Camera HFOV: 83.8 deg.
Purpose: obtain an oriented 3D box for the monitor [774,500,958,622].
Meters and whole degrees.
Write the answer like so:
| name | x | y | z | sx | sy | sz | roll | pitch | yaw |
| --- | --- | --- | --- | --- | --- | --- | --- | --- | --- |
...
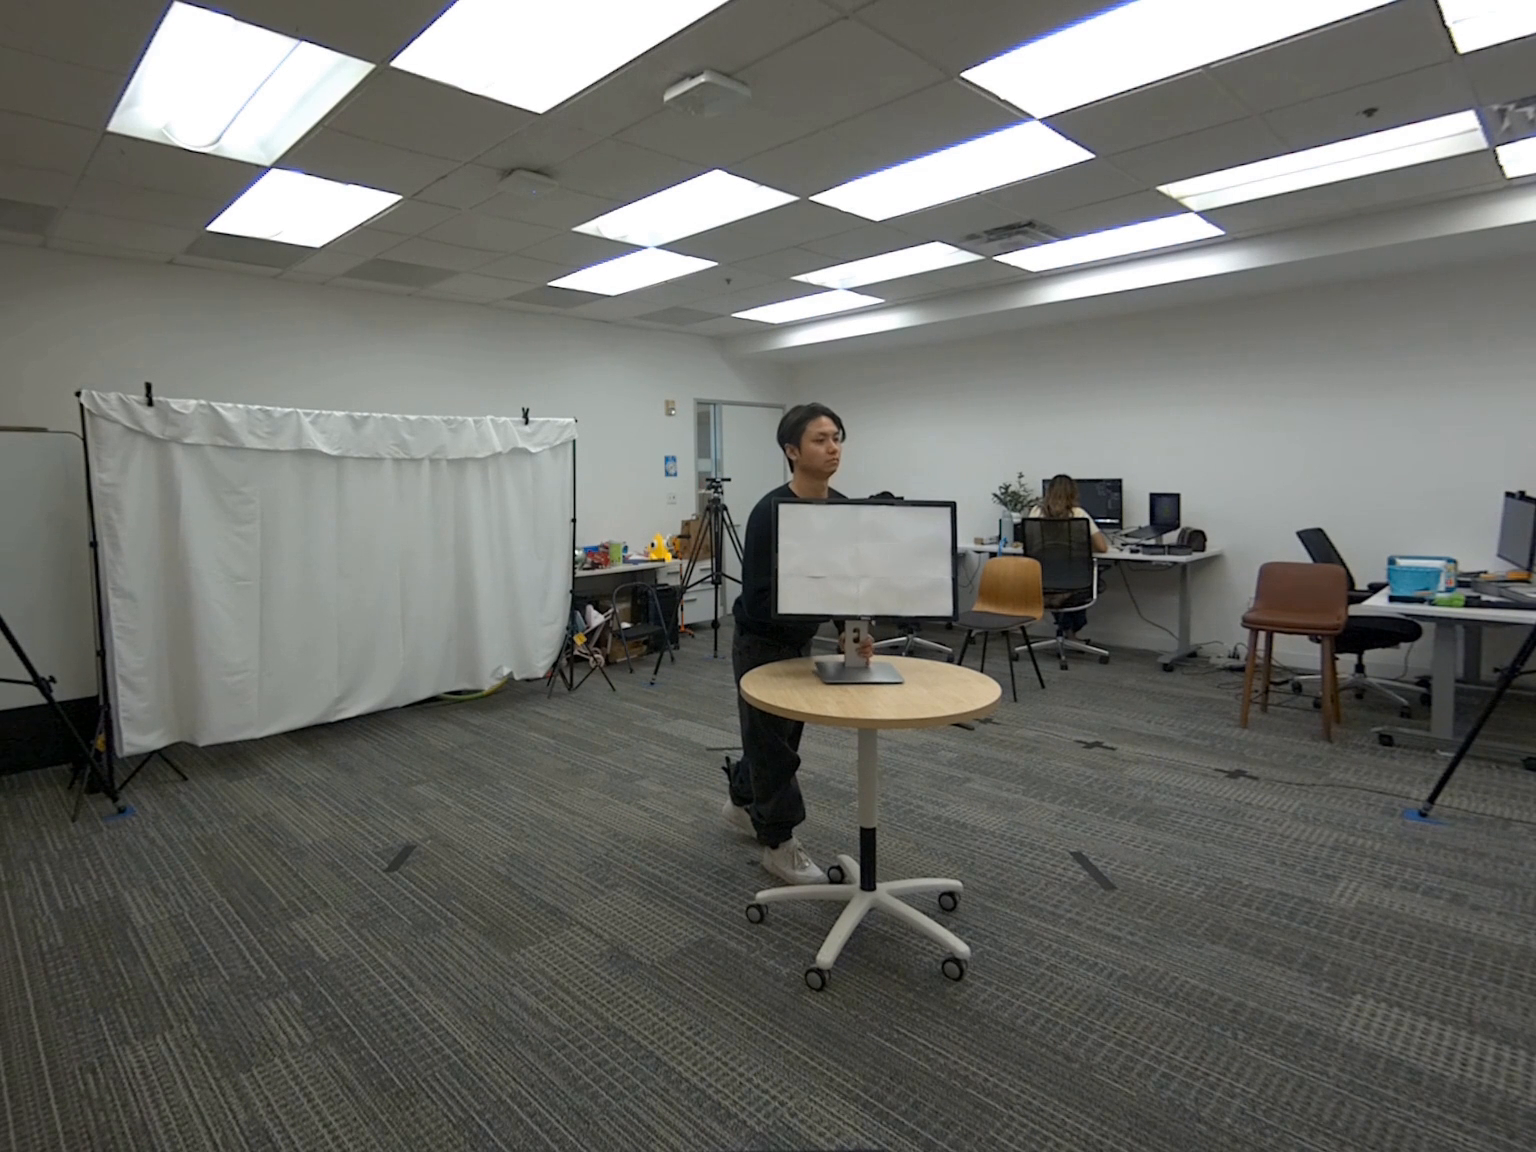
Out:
| name | x | y | z | sx | sy | sz | roll | pitch | yaw |
| --- | --- | --- | --- | --- | --- | --- | --- | --- | --- |
| monitor | 0.283 | 0.043 | 2.605 | 0.528 | 0.511 | 0.177 | 2 | 10 | -4 |
